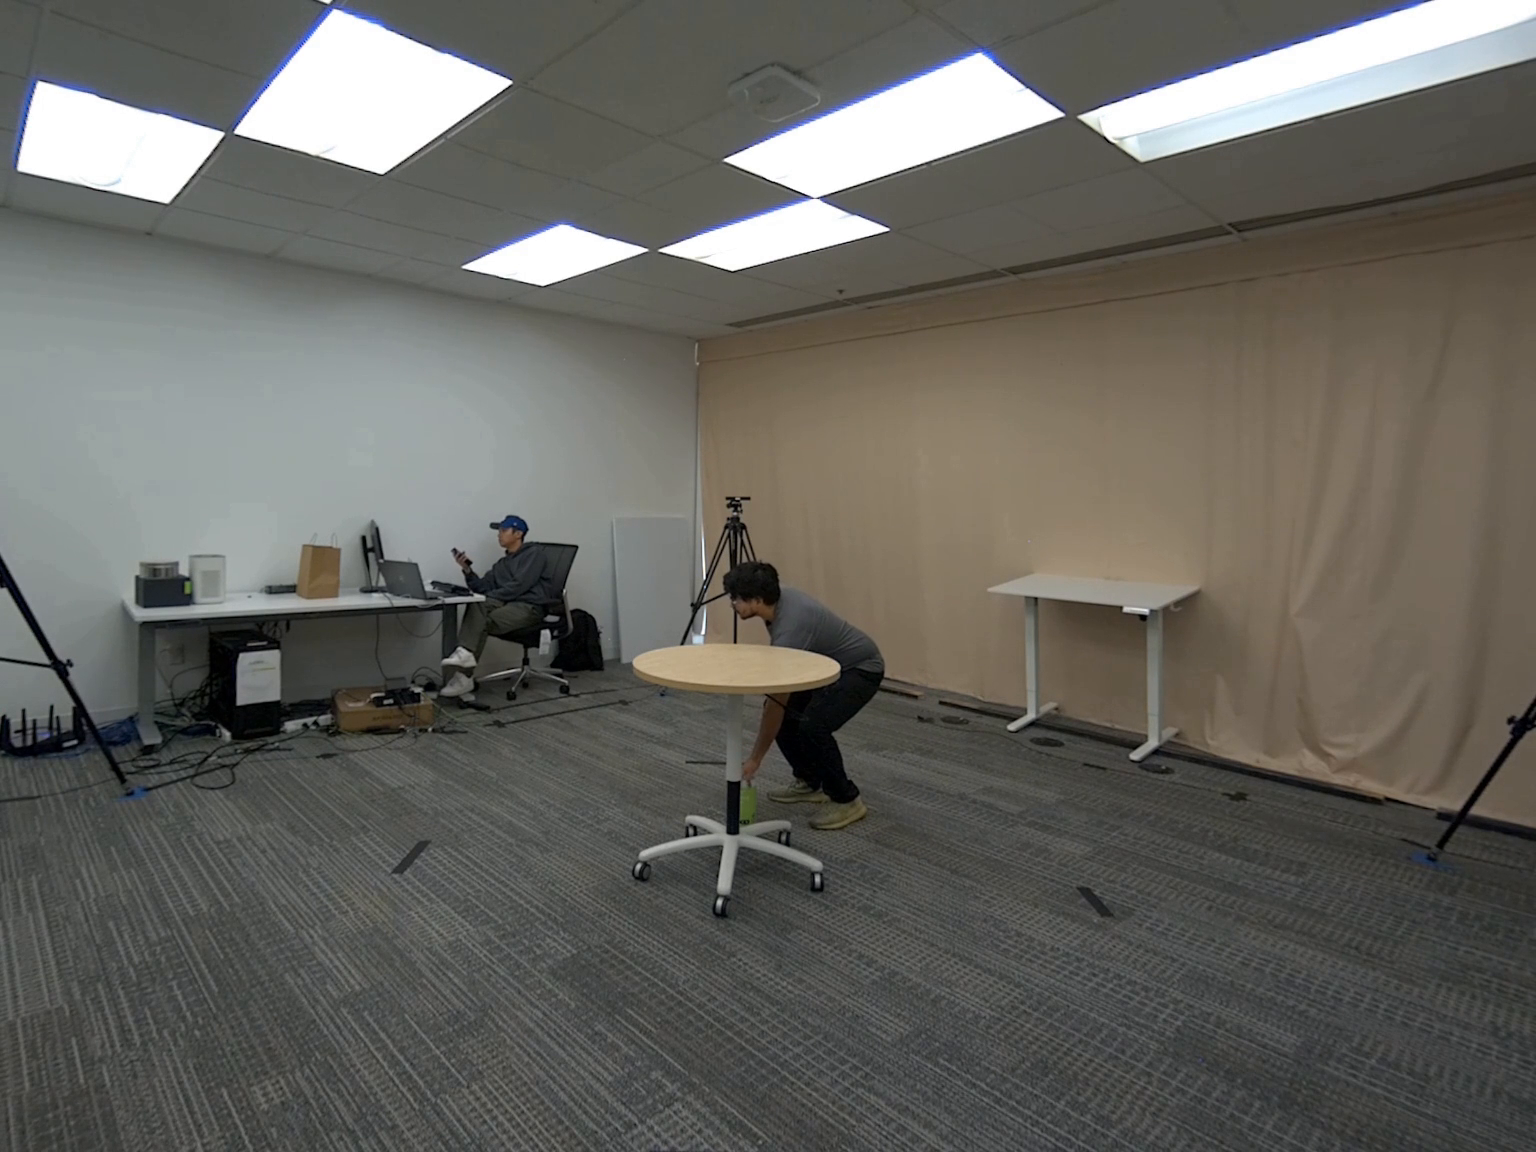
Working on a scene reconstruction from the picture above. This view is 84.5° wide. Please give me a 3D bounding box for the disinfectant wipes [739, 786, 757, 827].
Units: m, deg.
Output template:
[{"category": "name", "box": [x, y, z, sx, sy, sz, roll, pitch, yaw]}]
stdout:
[{"category": "disinfectant wipes", "box": [-0.112, 0.964, 3.576, 0.118, 0.217, 0.118, 2, 2, -1]}]
